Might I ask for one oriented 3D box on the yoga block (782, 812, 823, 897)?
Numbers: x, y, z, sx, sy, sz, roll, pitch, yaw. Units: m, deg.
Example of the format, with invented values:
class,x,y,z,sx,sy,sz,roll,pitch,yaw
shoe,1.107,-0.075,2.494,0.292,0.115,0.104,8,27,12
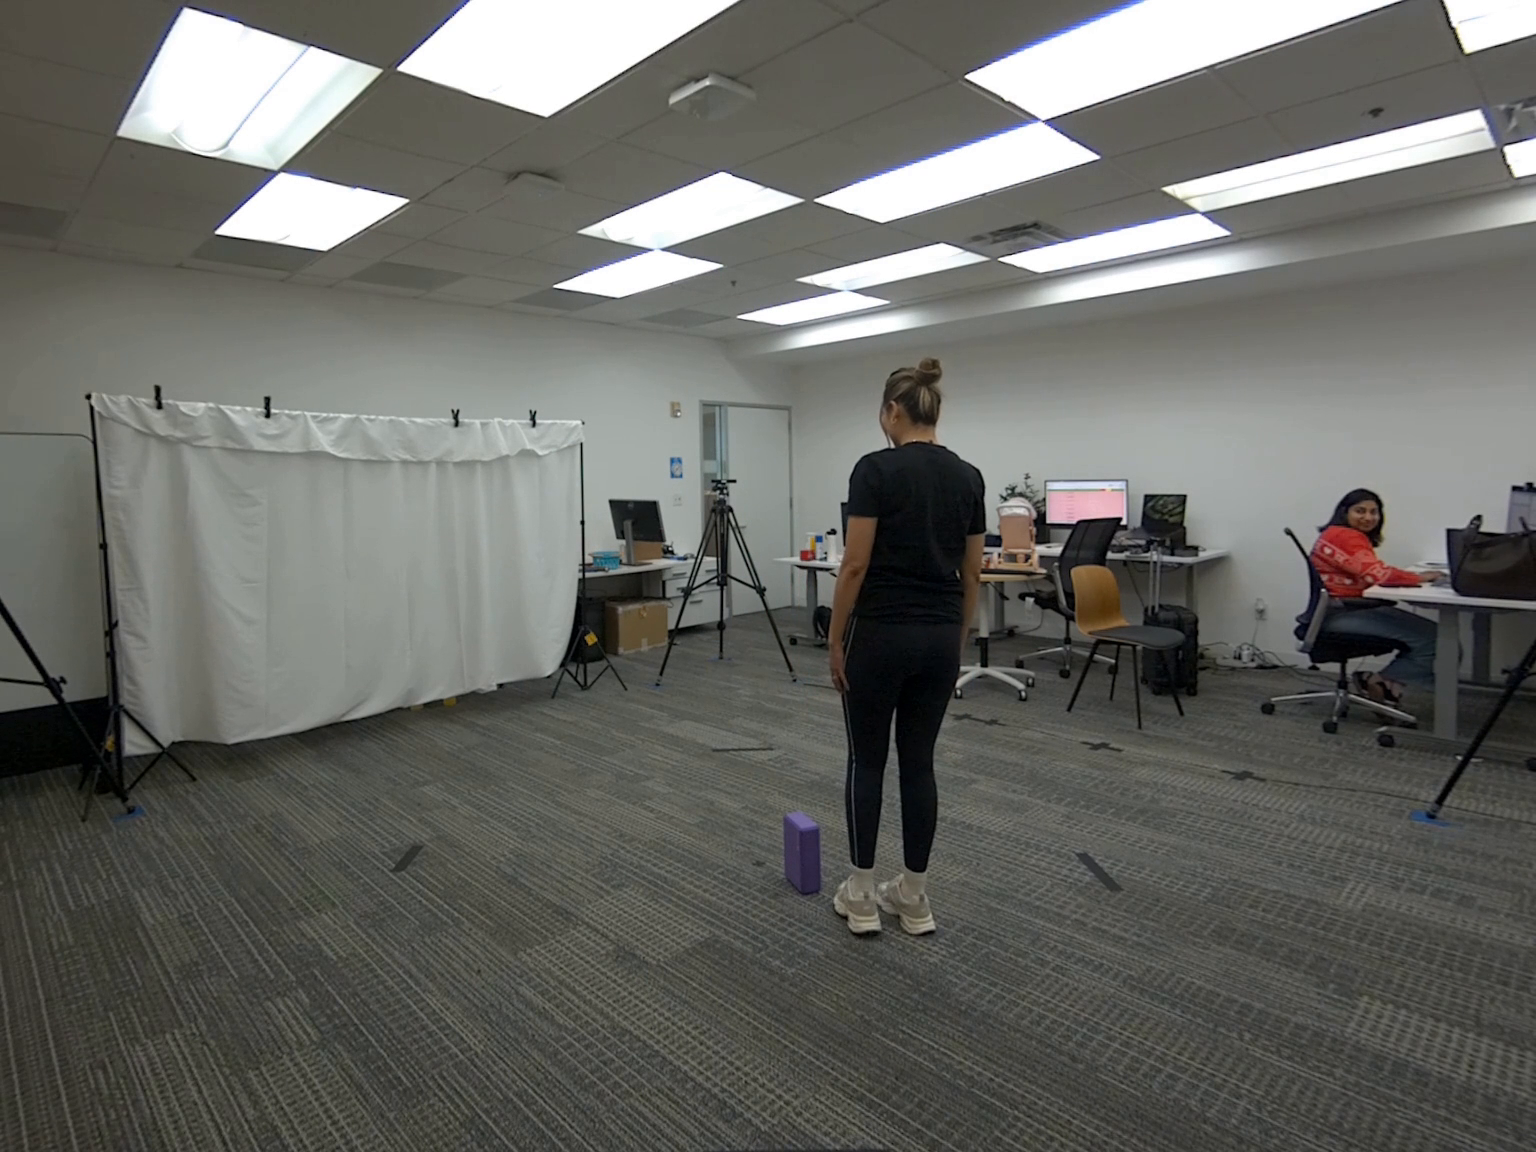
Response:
class,x,y,z,sx,sy,sz,roll,pitch,yaw
yoga block,0.125,0.947,2.930,0.075,0.228,0.152,-2,4,-24
